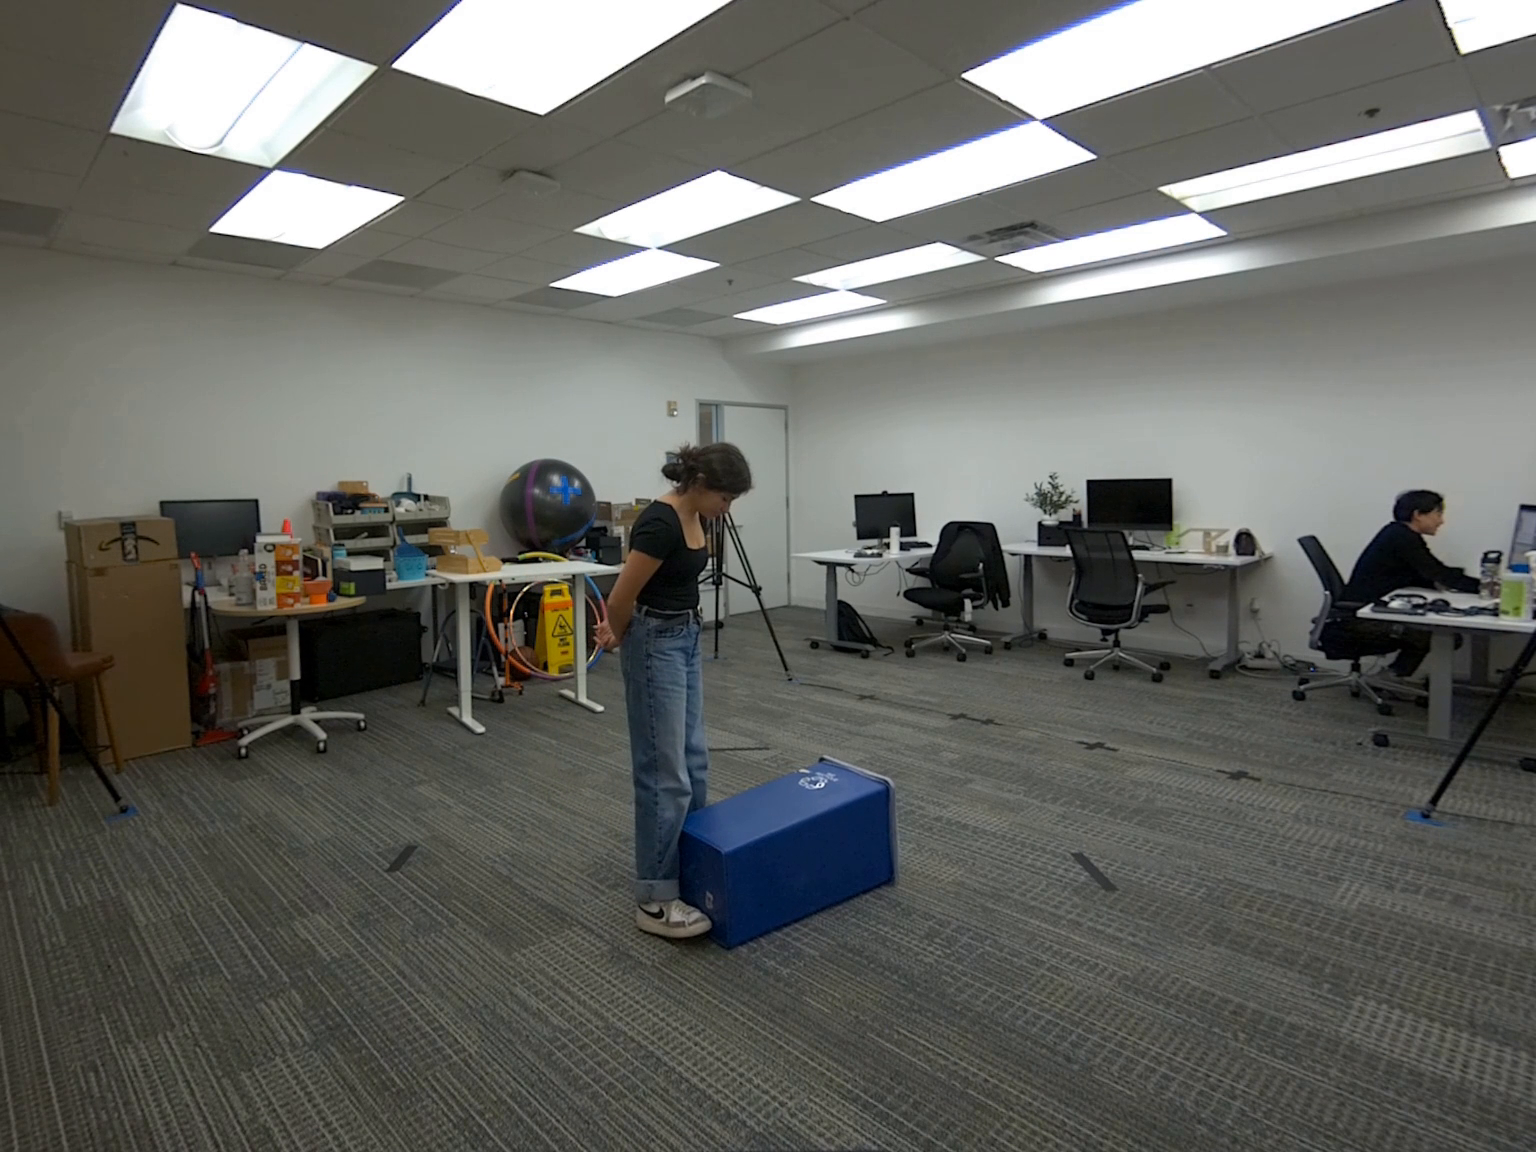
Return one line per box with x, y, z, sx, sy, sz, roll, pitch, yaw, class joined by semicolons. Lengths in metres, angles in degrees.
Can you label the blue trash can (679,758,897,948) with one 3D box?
0.060;0.906;2.845;0.696;0.376;0.385;-10;9;-39;blue trash can
